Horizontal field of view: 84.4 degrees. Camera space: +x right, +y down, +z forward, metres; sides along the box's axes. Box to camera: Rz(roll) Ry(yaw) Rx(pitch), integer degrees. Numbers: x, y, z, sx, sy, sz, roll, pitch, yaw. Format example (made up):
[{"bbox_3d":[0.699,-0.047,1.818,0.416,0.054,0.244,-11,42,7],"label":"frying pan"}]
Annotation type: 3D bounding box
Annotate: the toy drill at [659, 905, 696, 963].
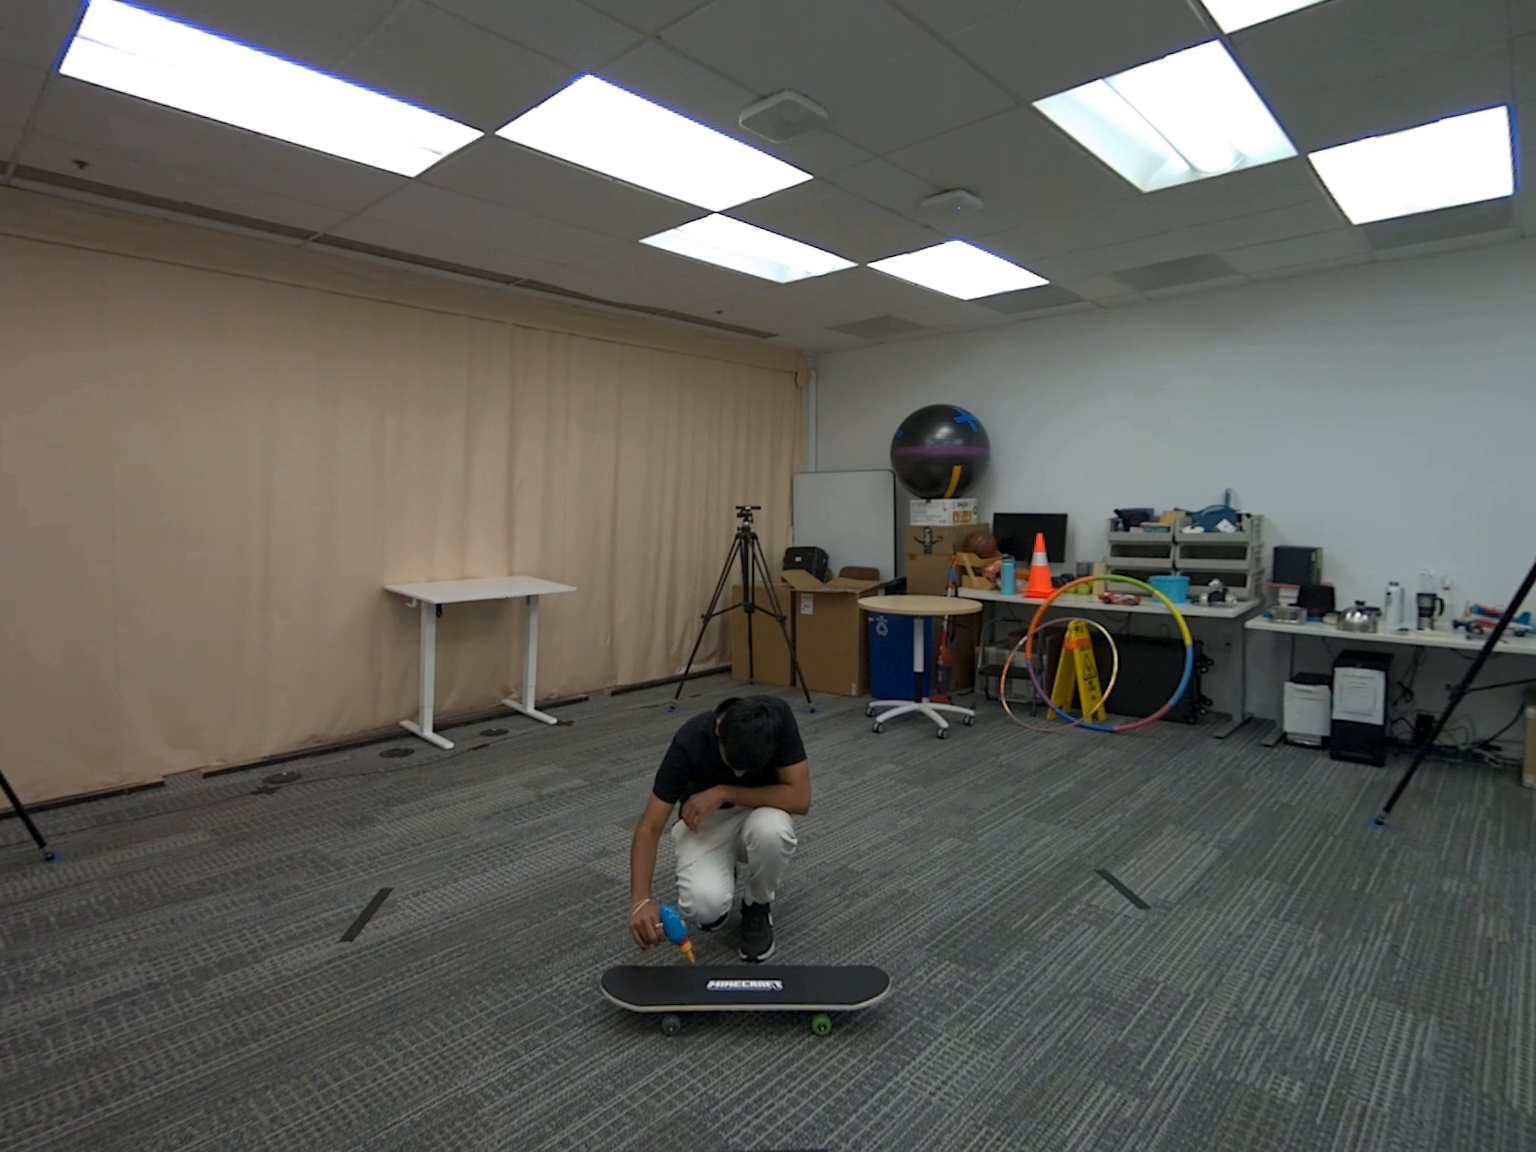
[{"bbox_3d":[-0.274,0.994,2.331,0.148,0.171,0.059,-32,-11,30],"label":"toy drill"}]
